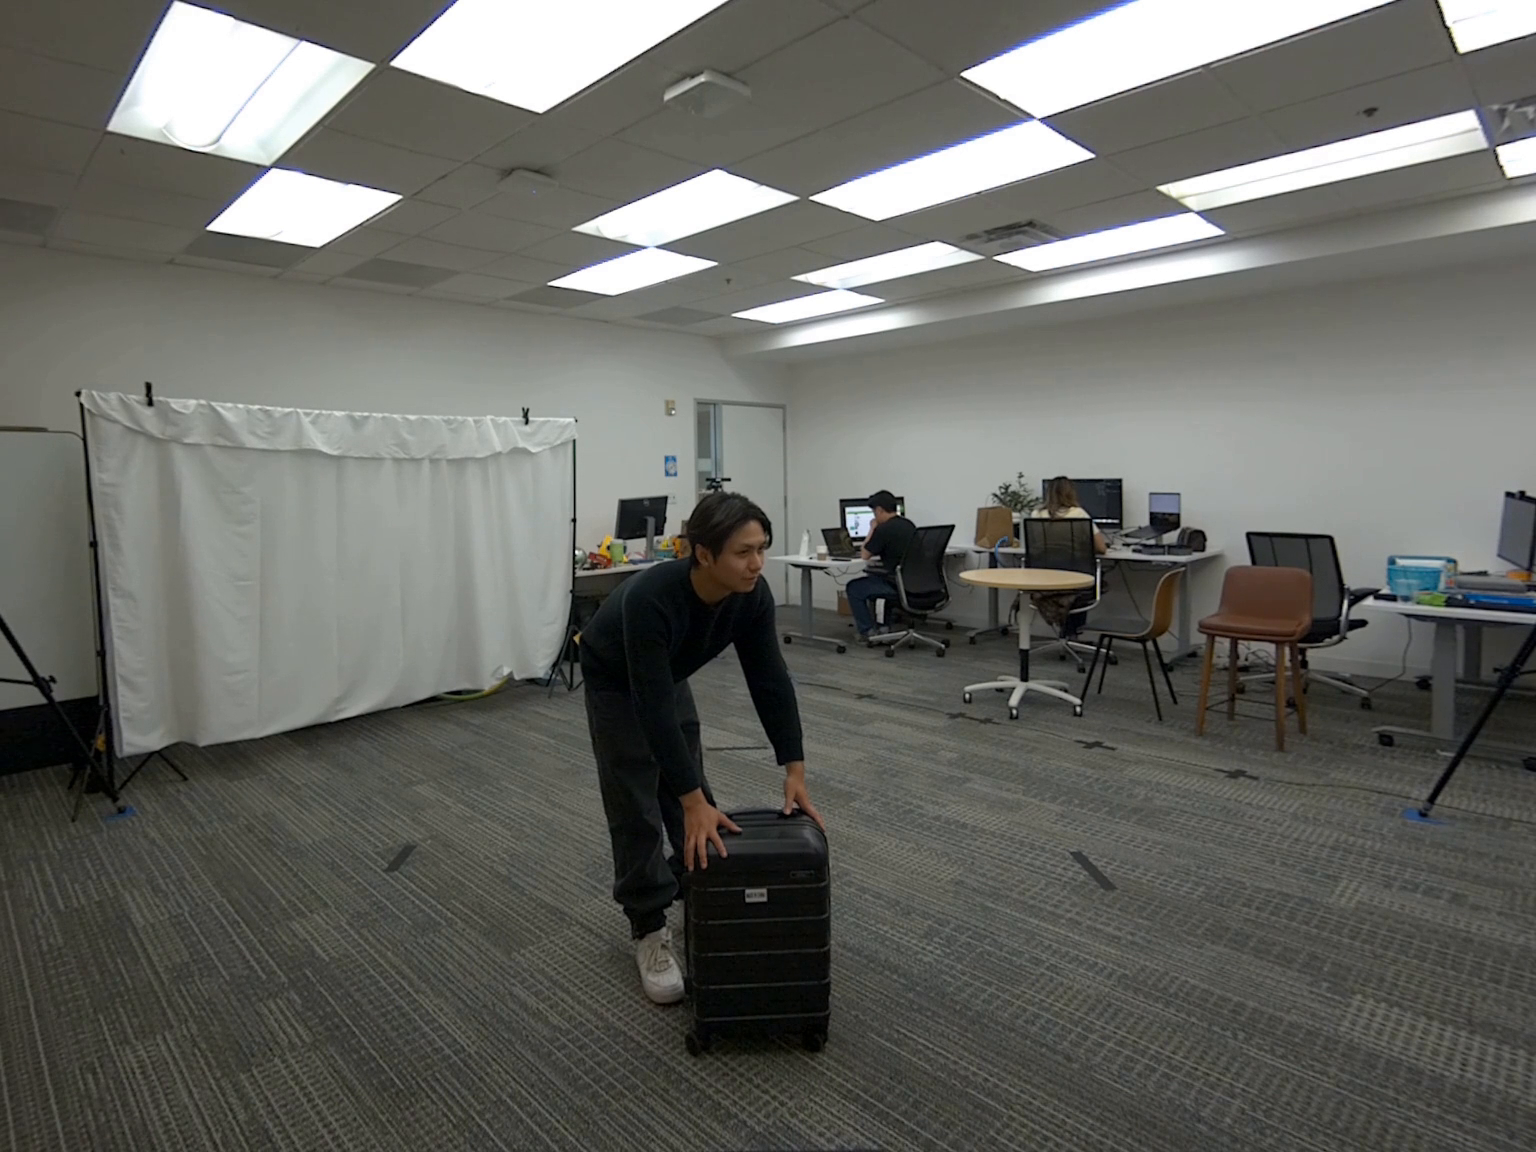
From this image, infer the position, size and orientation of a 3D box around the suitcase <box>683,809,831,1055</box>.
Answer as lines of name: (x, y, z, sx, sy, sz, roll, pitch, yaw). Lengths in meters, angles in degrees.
suitcase: (-0.016, 0.876, 2.161, 0.374, 0.547, 0.250, -2, 4, -4)
